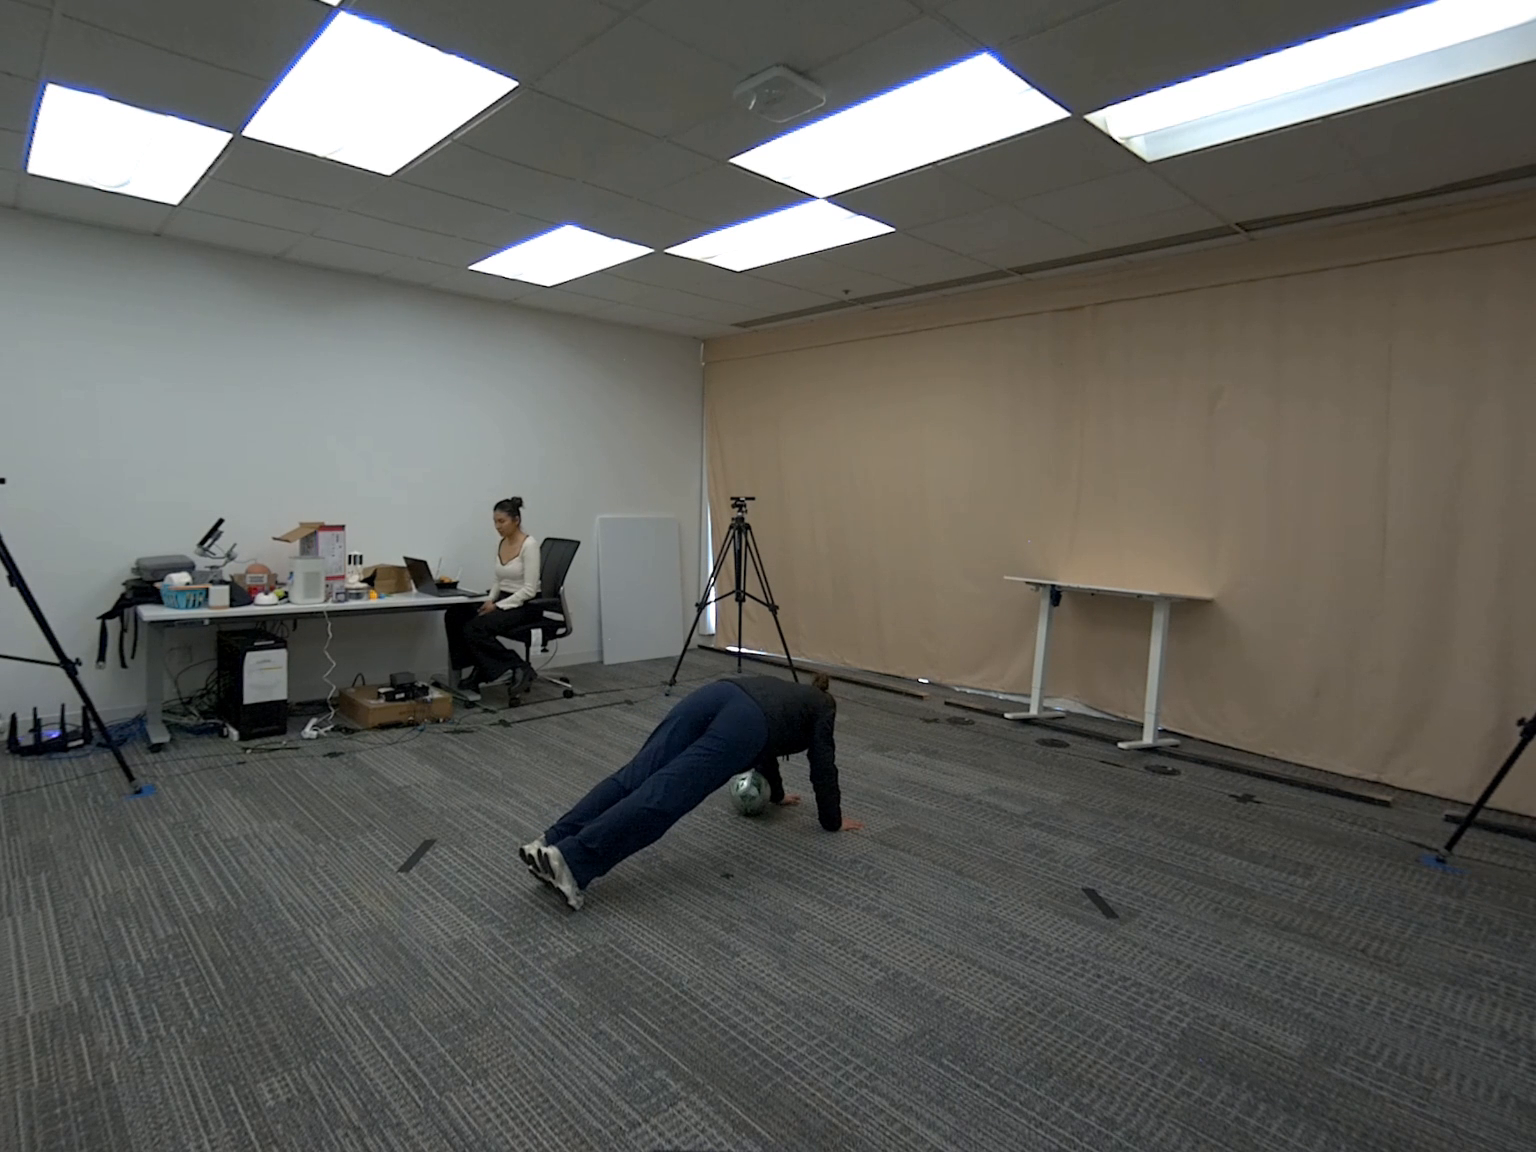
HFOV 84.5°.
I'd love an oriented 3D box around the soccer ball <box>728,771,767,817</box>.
[{"bbox_3d":[-0.091,0.962,3.731,0.187,0.187,0.188,1,4,-1],"label":"soccer ball"}]
